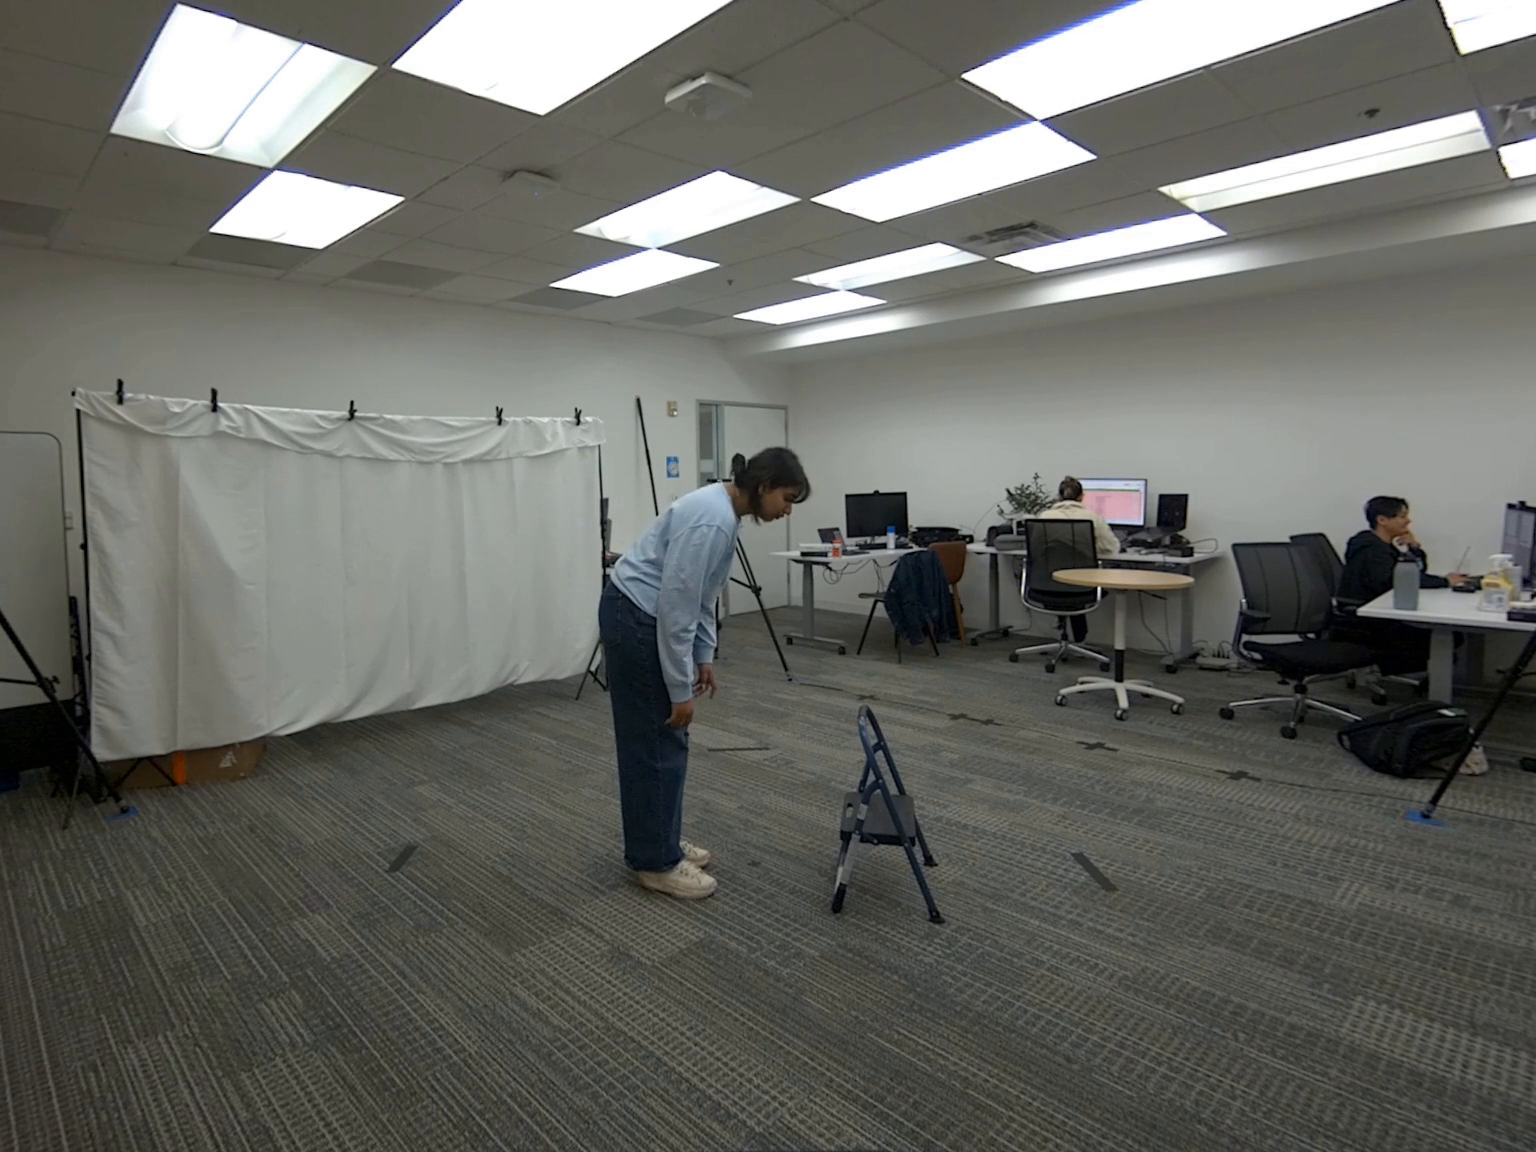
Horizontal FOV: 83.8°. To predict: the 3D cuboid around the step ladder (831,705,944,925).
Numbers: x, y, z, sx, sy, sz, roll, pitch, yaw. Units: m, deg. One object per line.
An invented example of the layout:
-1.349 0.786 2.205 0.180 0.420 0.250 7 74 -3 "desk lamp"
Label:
0.399 0.754 2.888 0.353 0.604 0.428 0 4 9 "step ladder"
